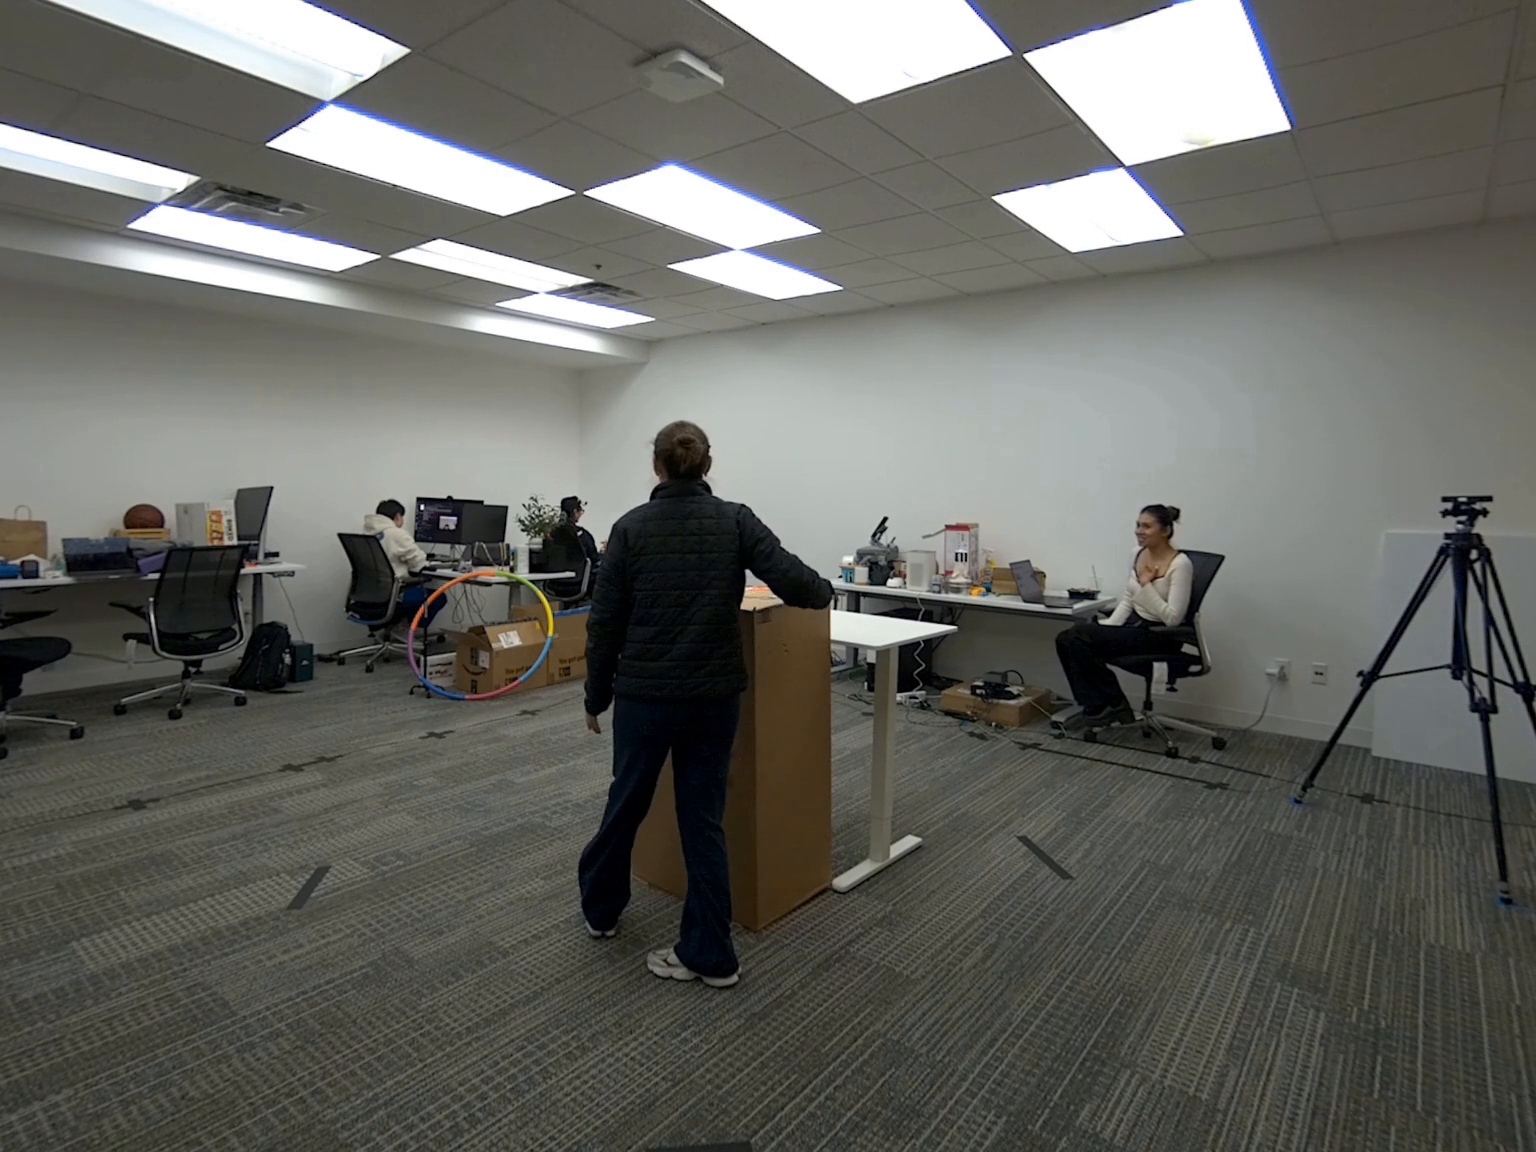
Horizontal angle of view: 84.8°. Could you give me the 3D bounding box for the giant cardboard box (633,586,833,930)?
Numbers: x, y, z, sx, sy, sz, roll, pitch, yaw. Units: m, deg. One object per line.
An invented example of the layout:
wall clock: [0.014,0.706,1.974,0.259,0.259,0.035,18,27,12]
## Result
giant cardboard box: [-0.119,0.566,2.980,0.603,1.023,0.434,3,5,41]
